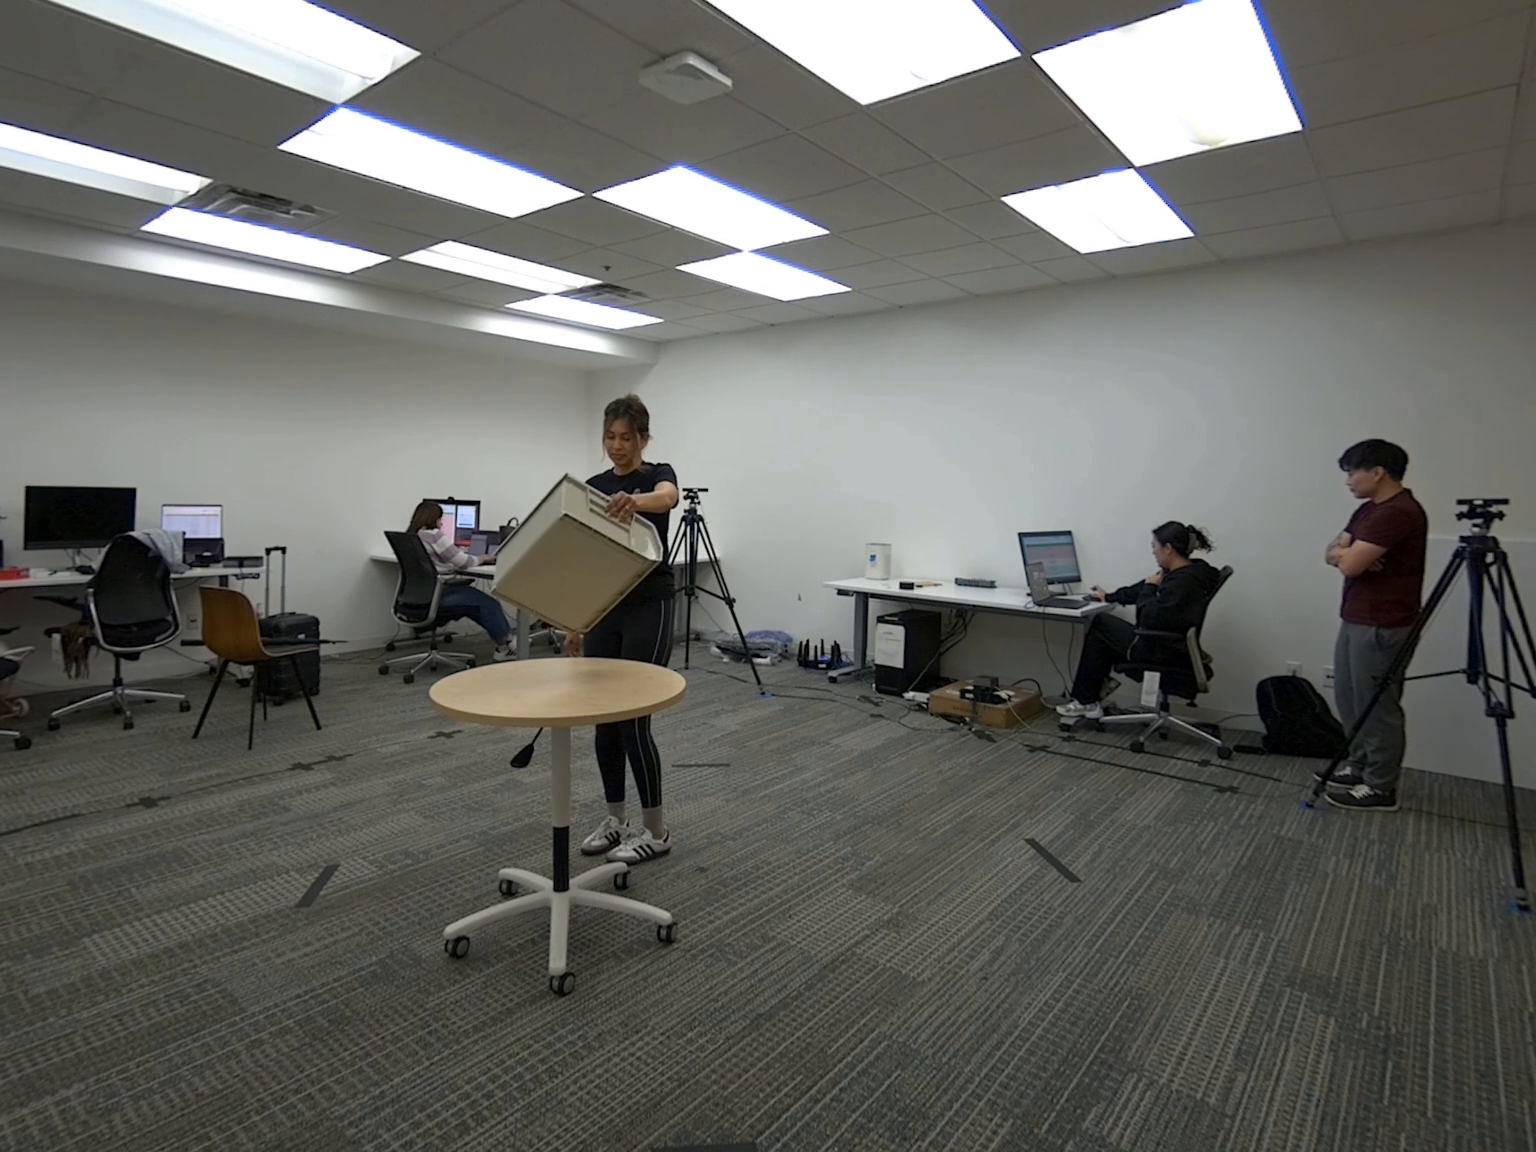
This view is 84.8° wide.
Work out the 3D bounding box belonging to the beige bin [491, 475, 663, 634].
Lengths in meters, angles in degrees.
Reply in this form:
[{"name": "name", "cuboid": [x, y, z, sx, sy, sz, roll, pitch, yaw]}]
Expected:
[{"name": "beige bin", "cuboid": [-0.623, -0.051, 2.692, 0.364, 0.195, 0.424, 31, -57, -30]}]
